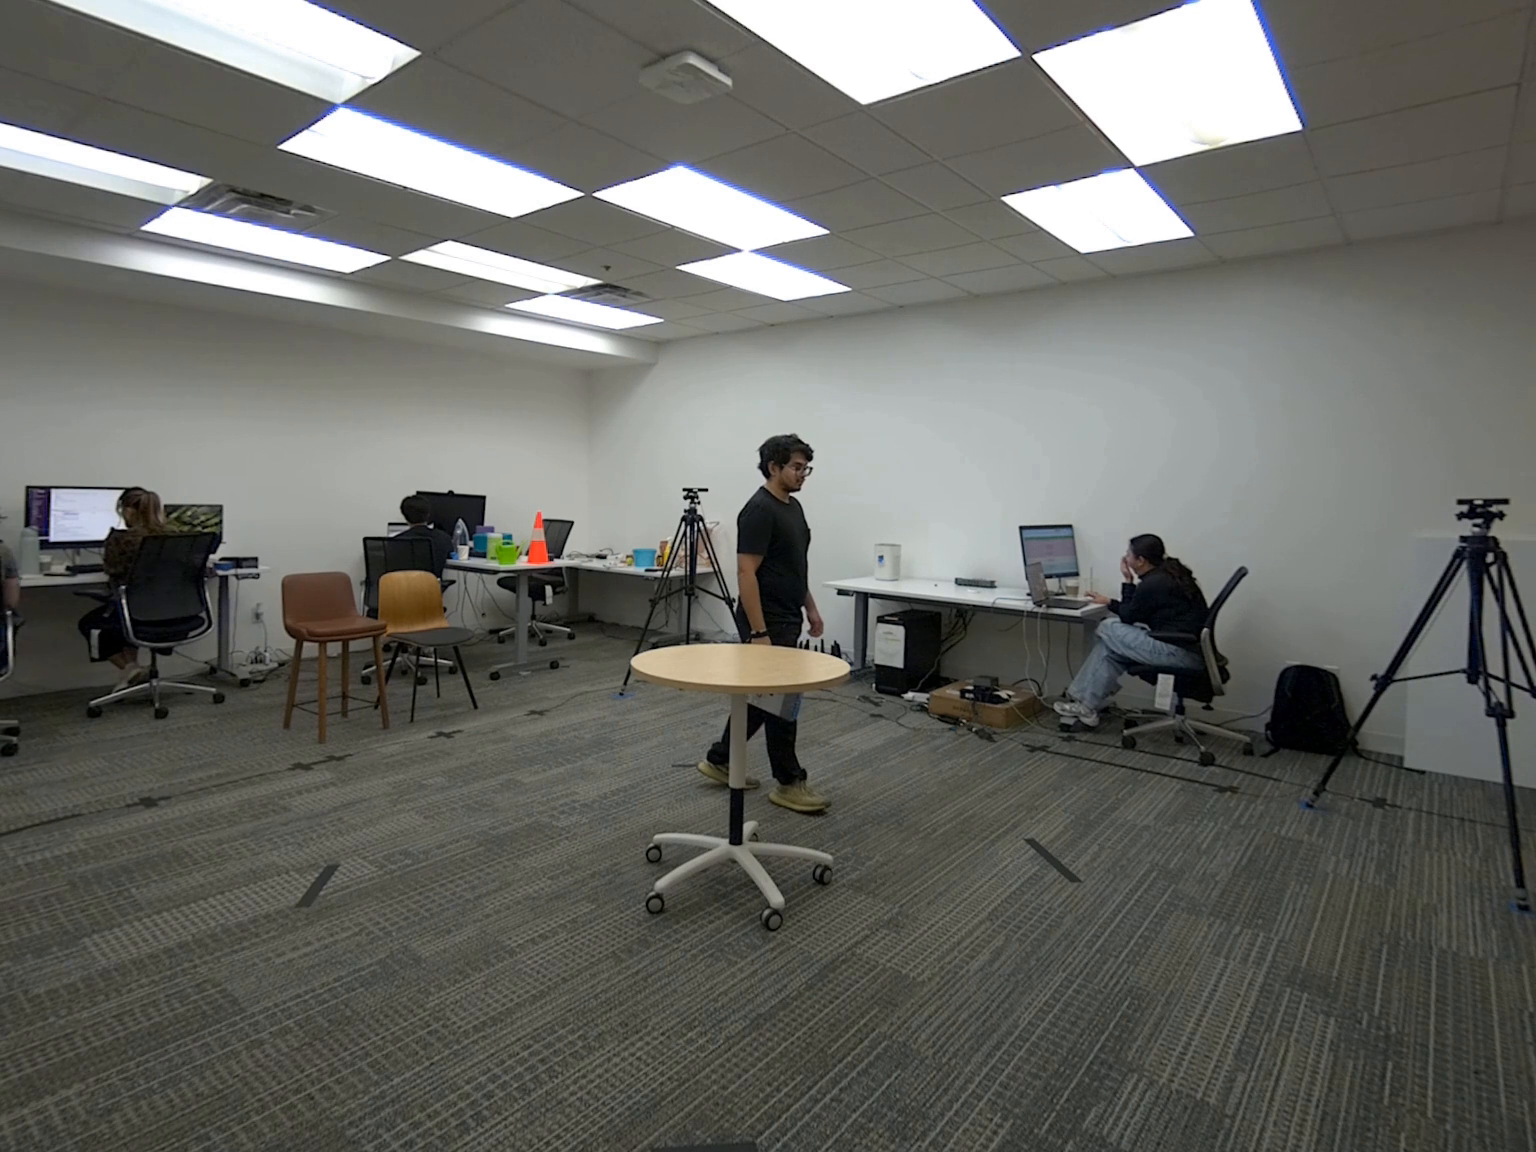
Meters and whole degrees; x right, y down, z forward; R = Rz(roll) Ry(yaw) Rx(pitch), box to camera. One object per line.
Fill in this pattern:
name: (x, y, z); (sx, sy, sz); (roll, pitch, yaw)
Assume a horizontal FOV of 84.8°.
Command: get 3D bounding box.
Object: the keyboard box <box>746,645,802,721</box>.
keyboard box: (-0.057, 0.440, 3.580); (0.451, 0.175, 0.057); (18, 7, 27)
